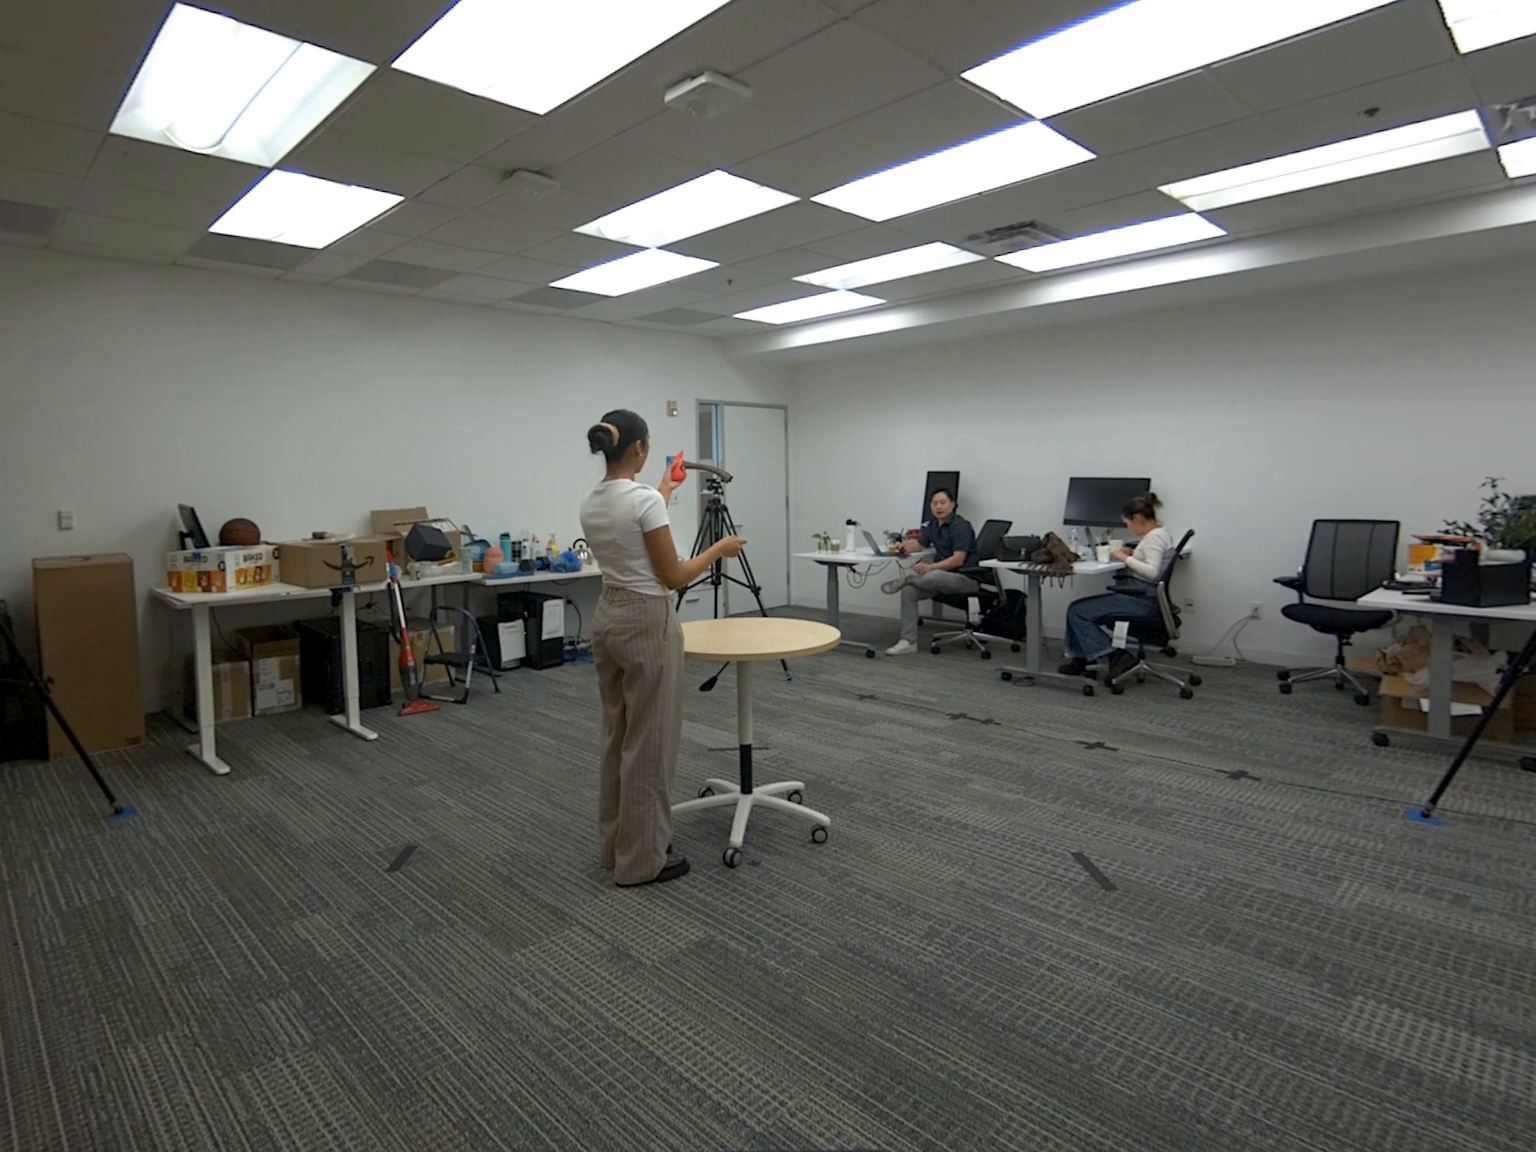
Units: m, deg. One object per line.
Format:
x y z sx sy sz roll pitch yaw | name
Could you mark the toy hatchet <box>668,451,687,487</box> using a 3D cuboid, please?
-0.272 -0.398 3.353 0.279 0.131 0.028 28 -15 27 | toy hatchet
